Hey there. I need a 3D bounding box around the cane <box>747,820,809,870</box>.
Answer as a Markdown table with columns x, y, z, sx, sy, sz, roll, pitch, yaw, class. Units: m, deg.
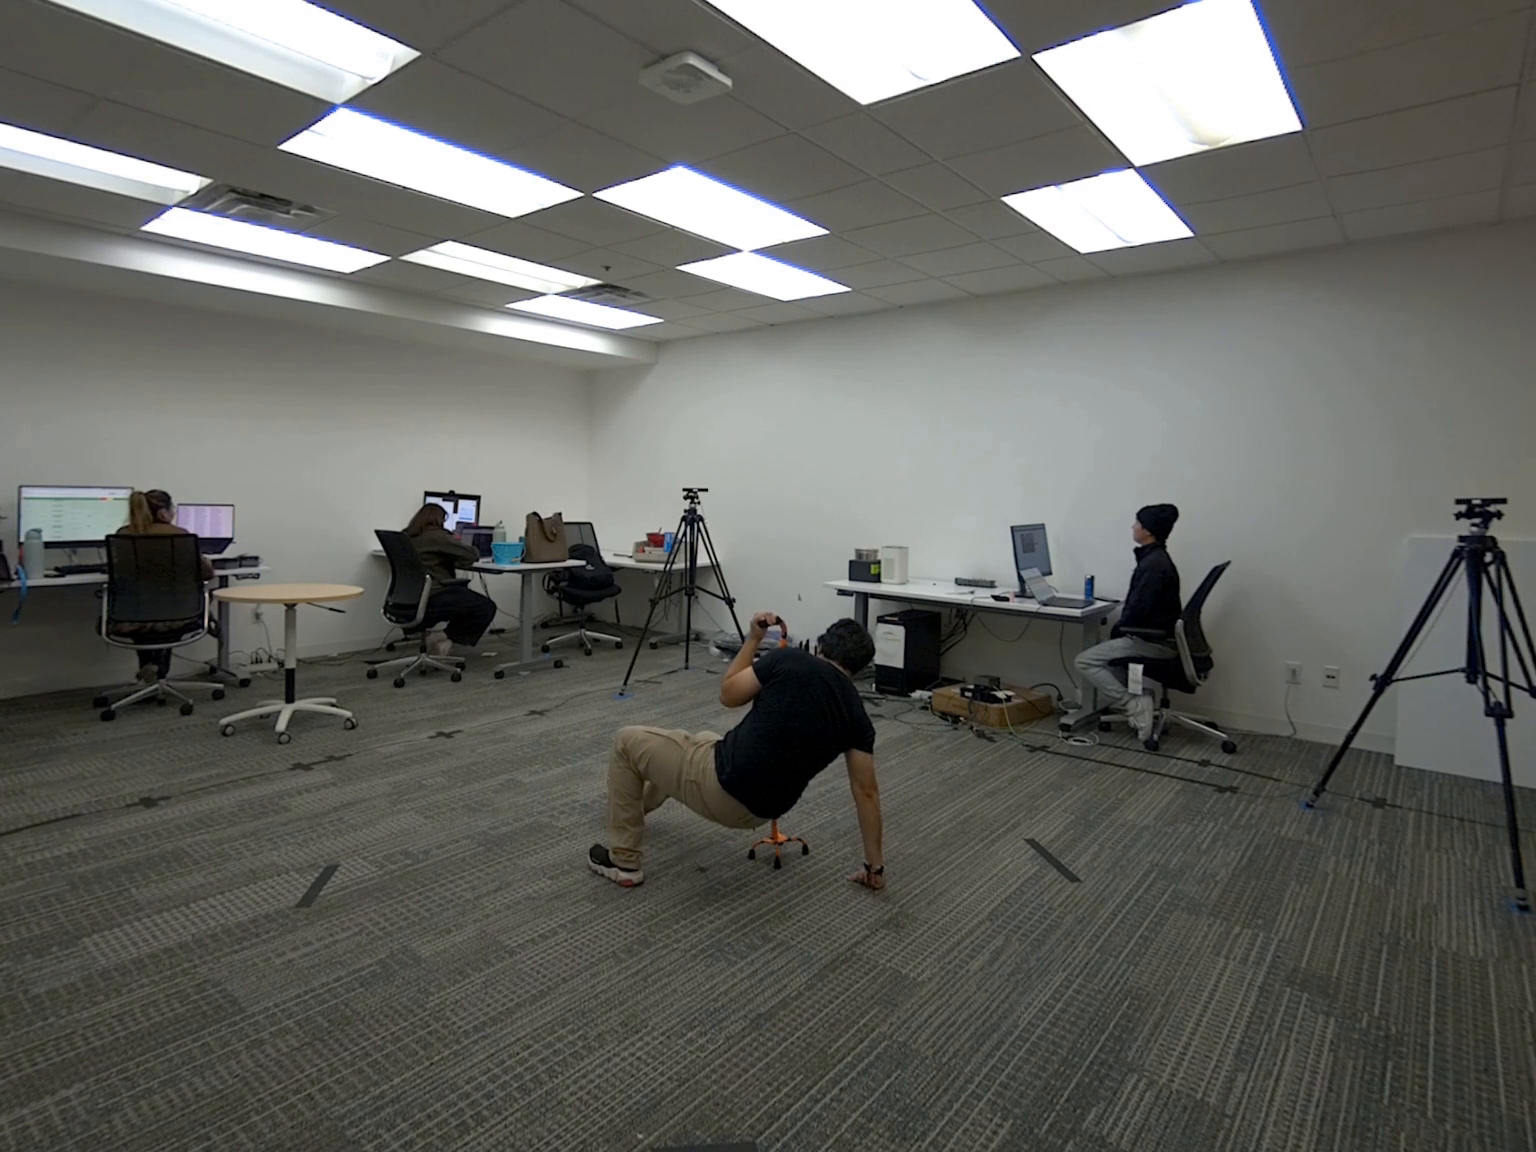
| x | y | z | sx | sy | sz | roll | pitch | yaw | class |
| --- | --- | --- | --- | --- | --- | --- | --- | --- | --- |
| 0.032 | 0.610 | 3.233 | 0.156 | 0.907 | 0.200 | 0 | 1 | 40 | cane |
